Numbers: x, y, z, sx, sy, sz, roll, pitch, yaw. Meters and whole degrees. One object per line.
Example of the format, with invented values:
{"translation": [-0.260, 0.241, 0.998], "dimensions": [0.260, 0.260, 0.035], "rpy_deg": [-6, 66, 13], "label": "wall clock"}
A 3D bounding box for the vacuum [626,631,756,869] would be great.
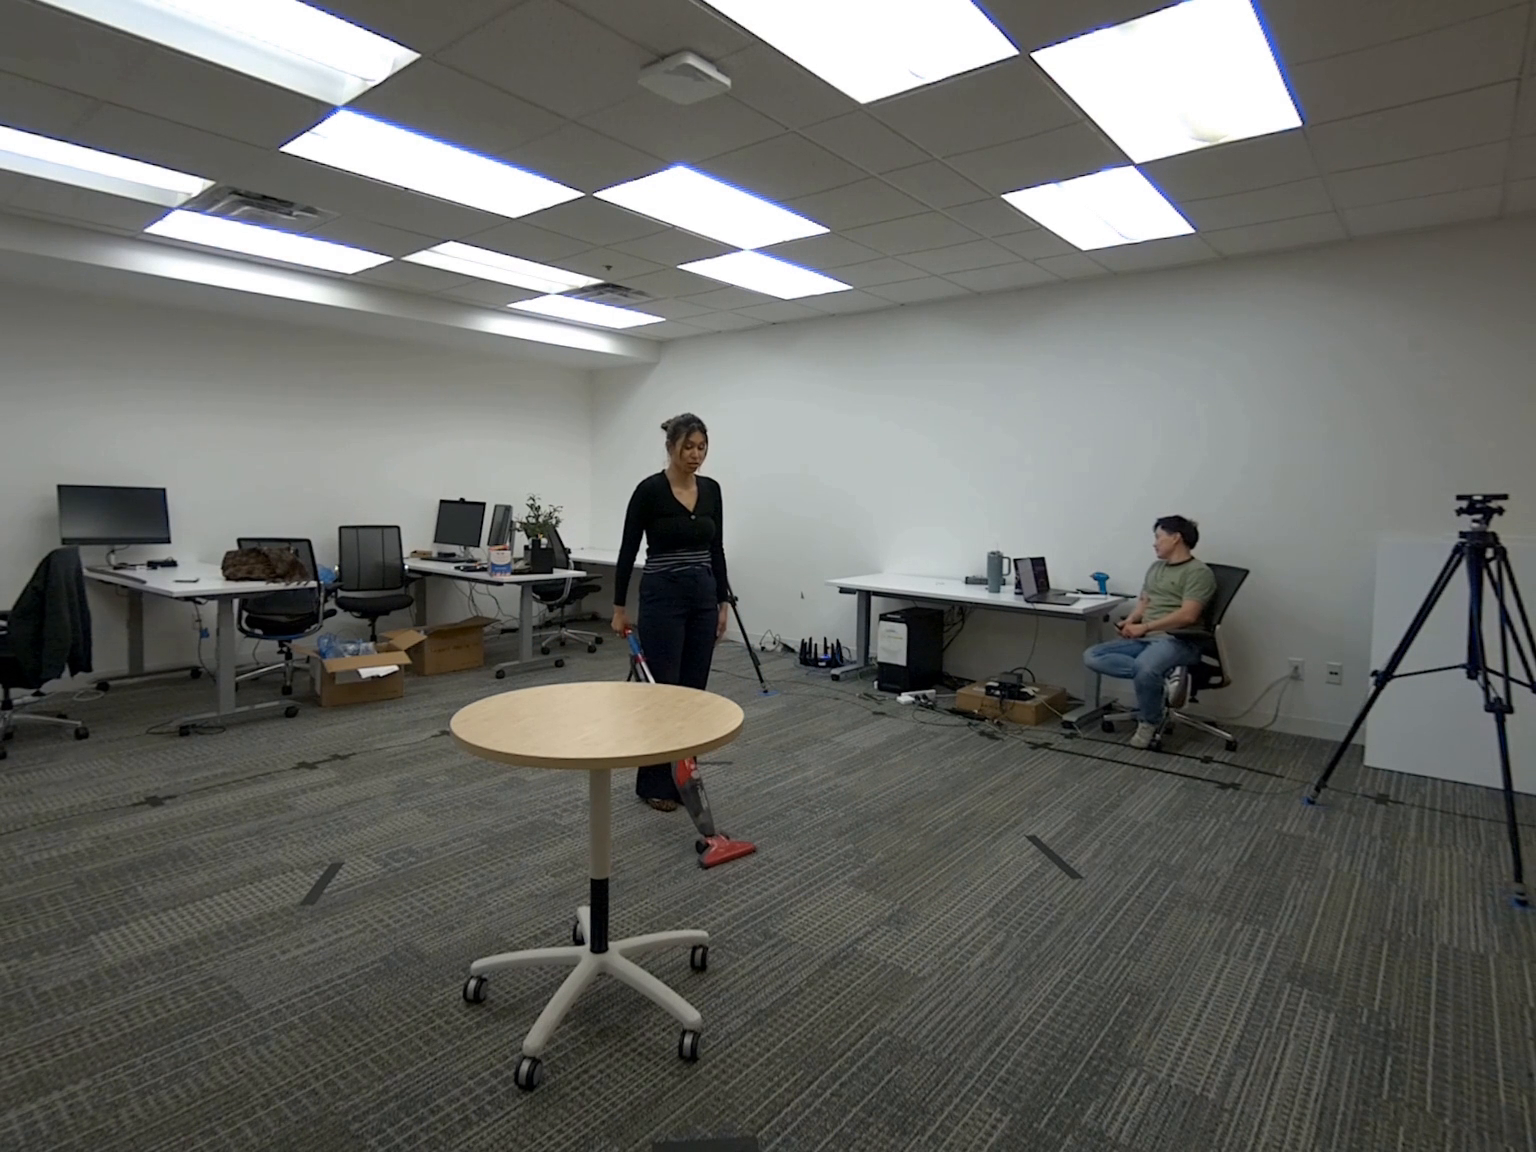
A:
{"translation": [-0.410, 0.643, 3.459], "dimensions": [0.245, 1.086, 0.143], "rpy_deg": [-1, -40, -44], "label": "vacuum"}
